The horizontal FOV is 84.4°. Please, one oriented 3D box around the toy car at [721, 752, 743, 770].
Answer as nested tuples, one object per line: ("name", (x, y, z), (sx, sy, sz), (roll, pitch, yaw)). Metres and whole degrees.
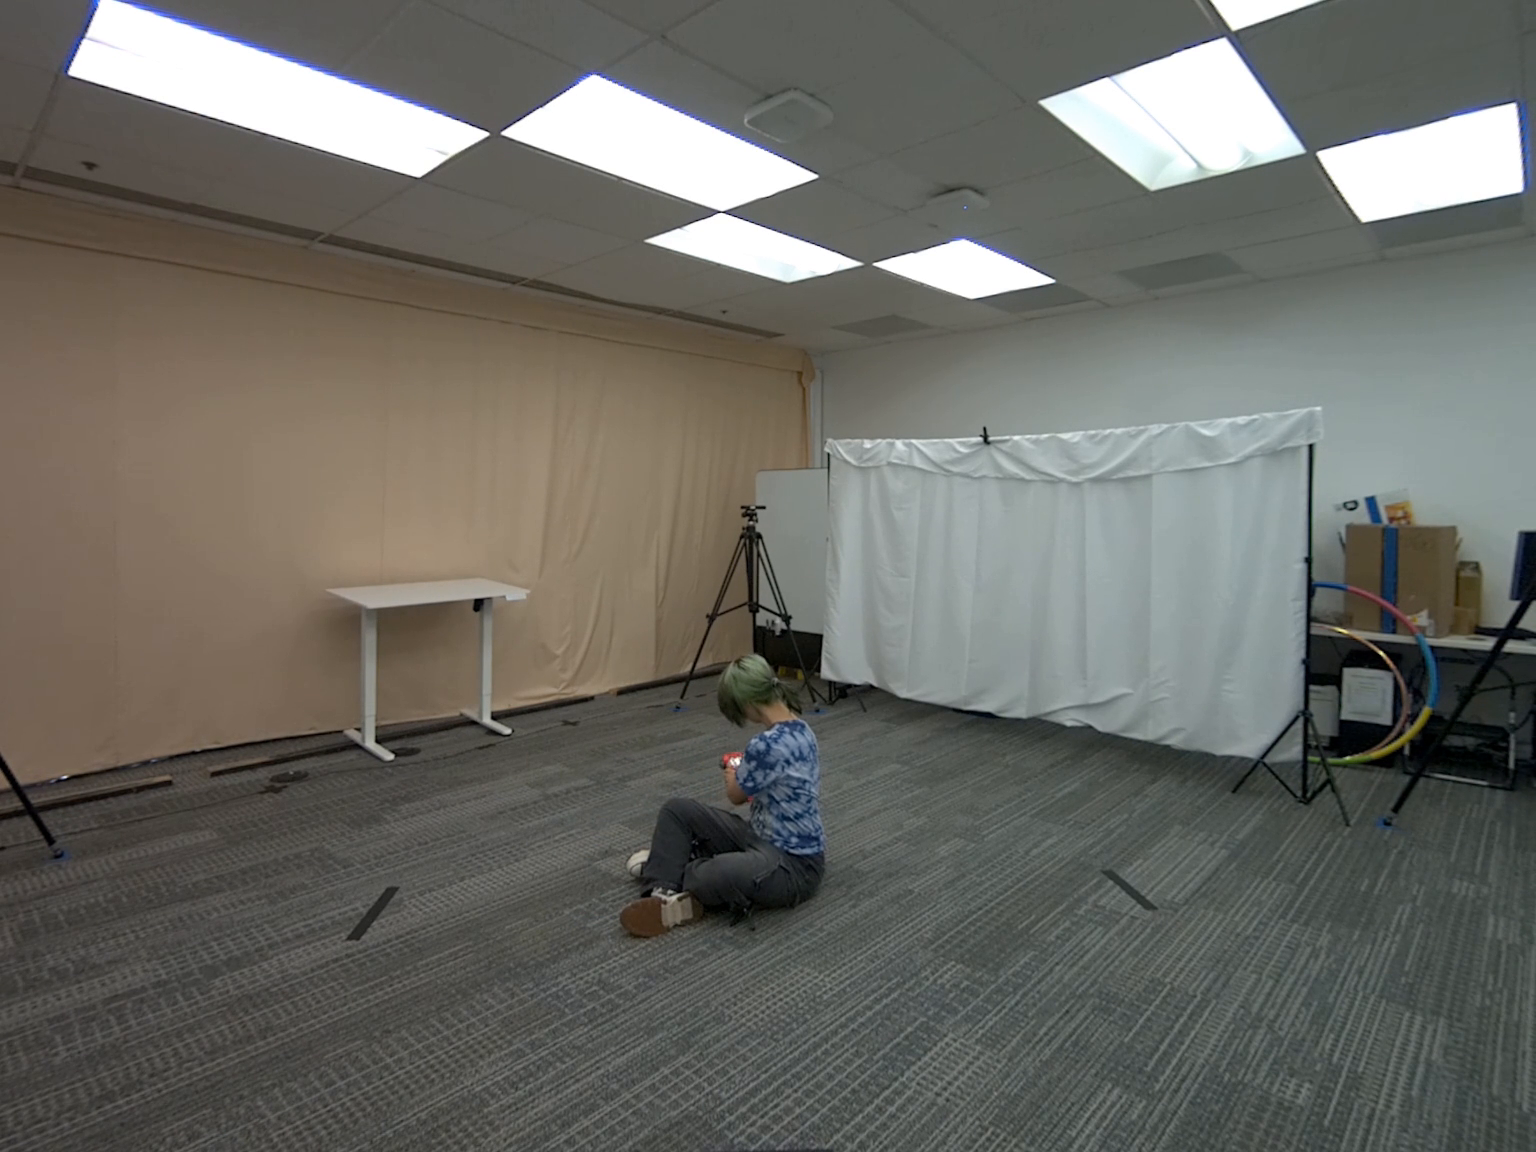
("toy car", (-0.106, 0.842, 3.479), (0.127, 0.082, 0.263), (0, 28, -30))
